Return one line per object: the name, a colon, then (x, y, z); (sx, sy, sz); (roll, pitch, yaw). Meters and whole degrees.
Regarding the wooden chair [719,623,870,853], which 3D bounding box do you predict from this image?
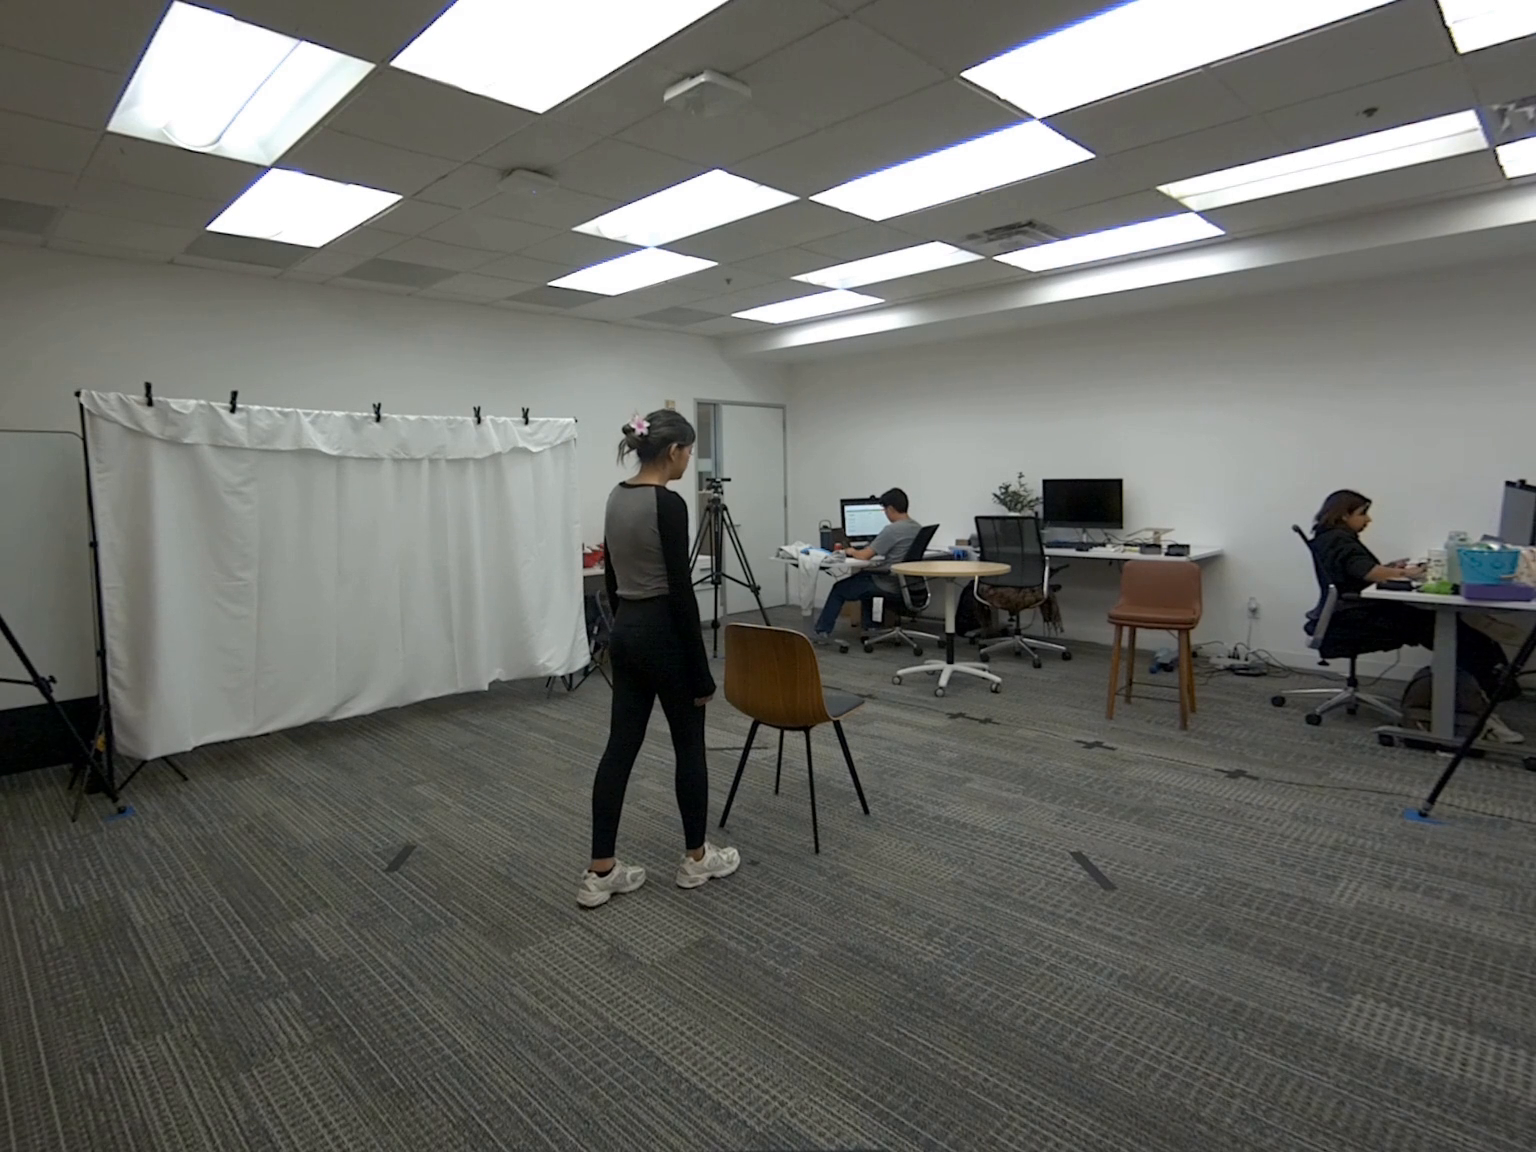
wooden chair: (0.107, 0.571, 3.455); (0.491, 0.871, 0.513); (2, 9, 33)
